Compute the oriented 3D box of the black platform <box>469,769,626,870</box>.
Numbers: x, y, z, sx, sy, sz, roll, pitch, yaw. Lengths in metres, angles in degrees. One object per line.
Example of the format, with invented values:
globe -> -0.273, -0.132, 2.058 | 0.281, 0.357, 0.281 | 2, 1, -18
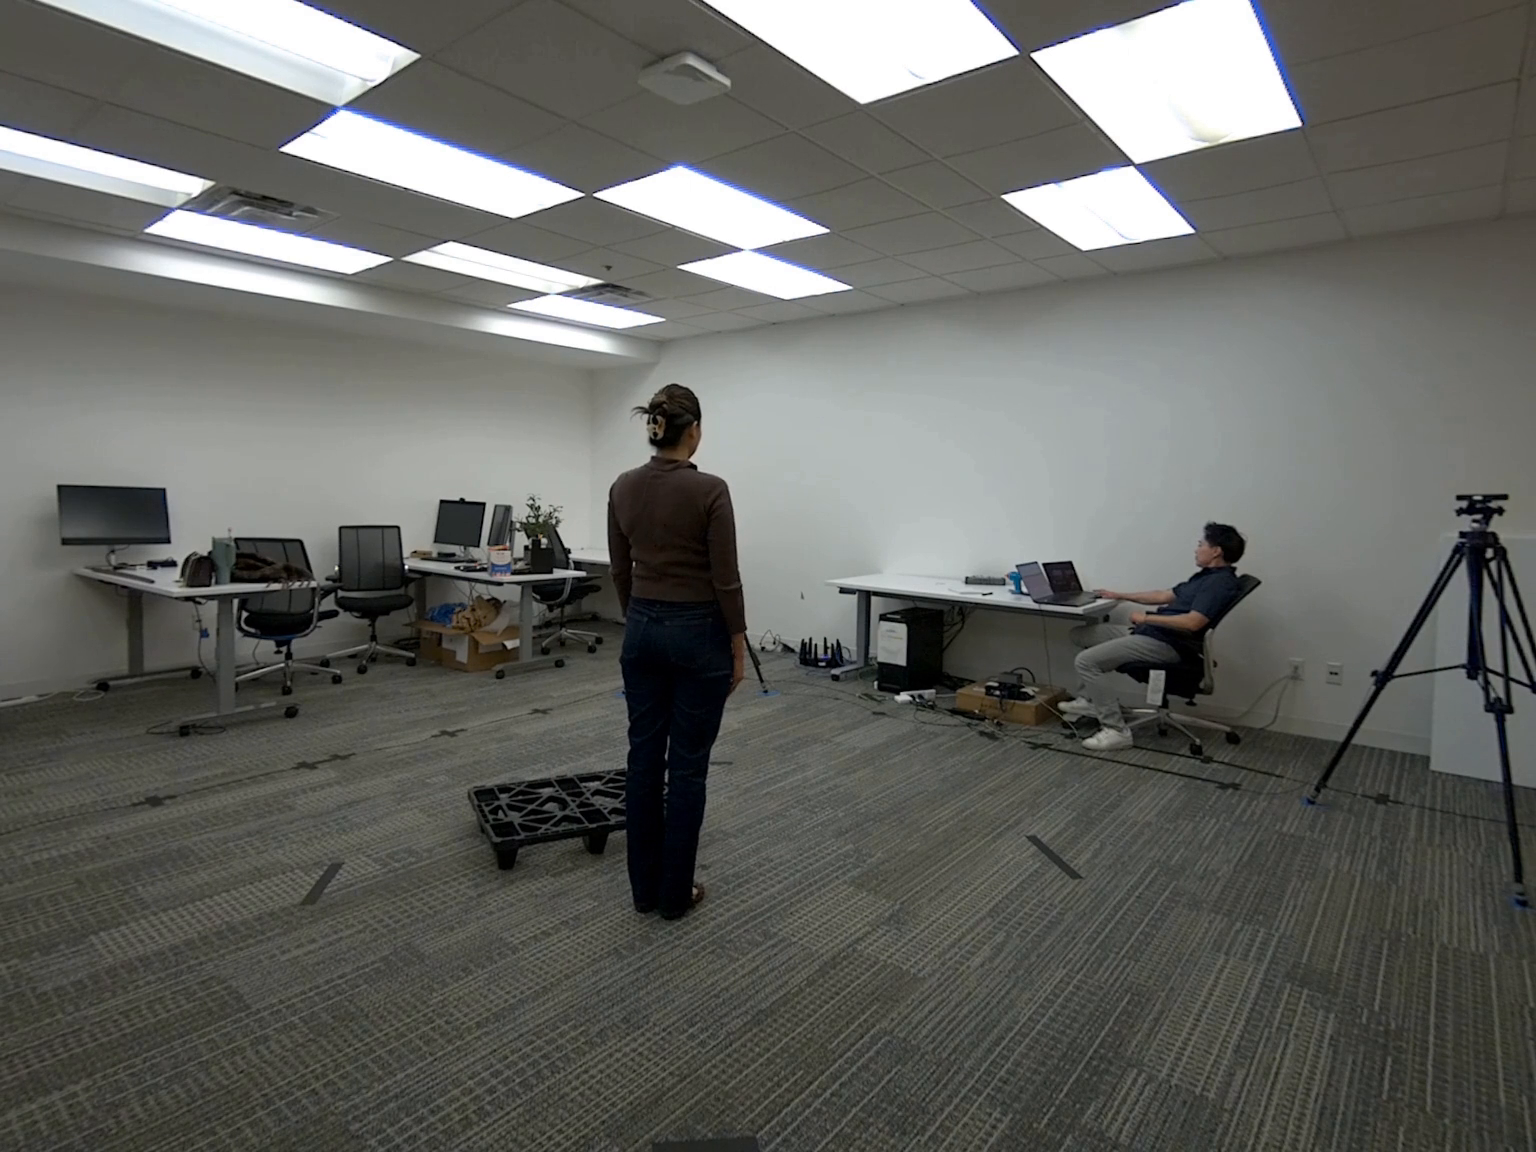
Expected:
black platform -> -0.773, 0.959, 3.427 | 0.786, 0.143, 0.622 | -2, 5, -27
